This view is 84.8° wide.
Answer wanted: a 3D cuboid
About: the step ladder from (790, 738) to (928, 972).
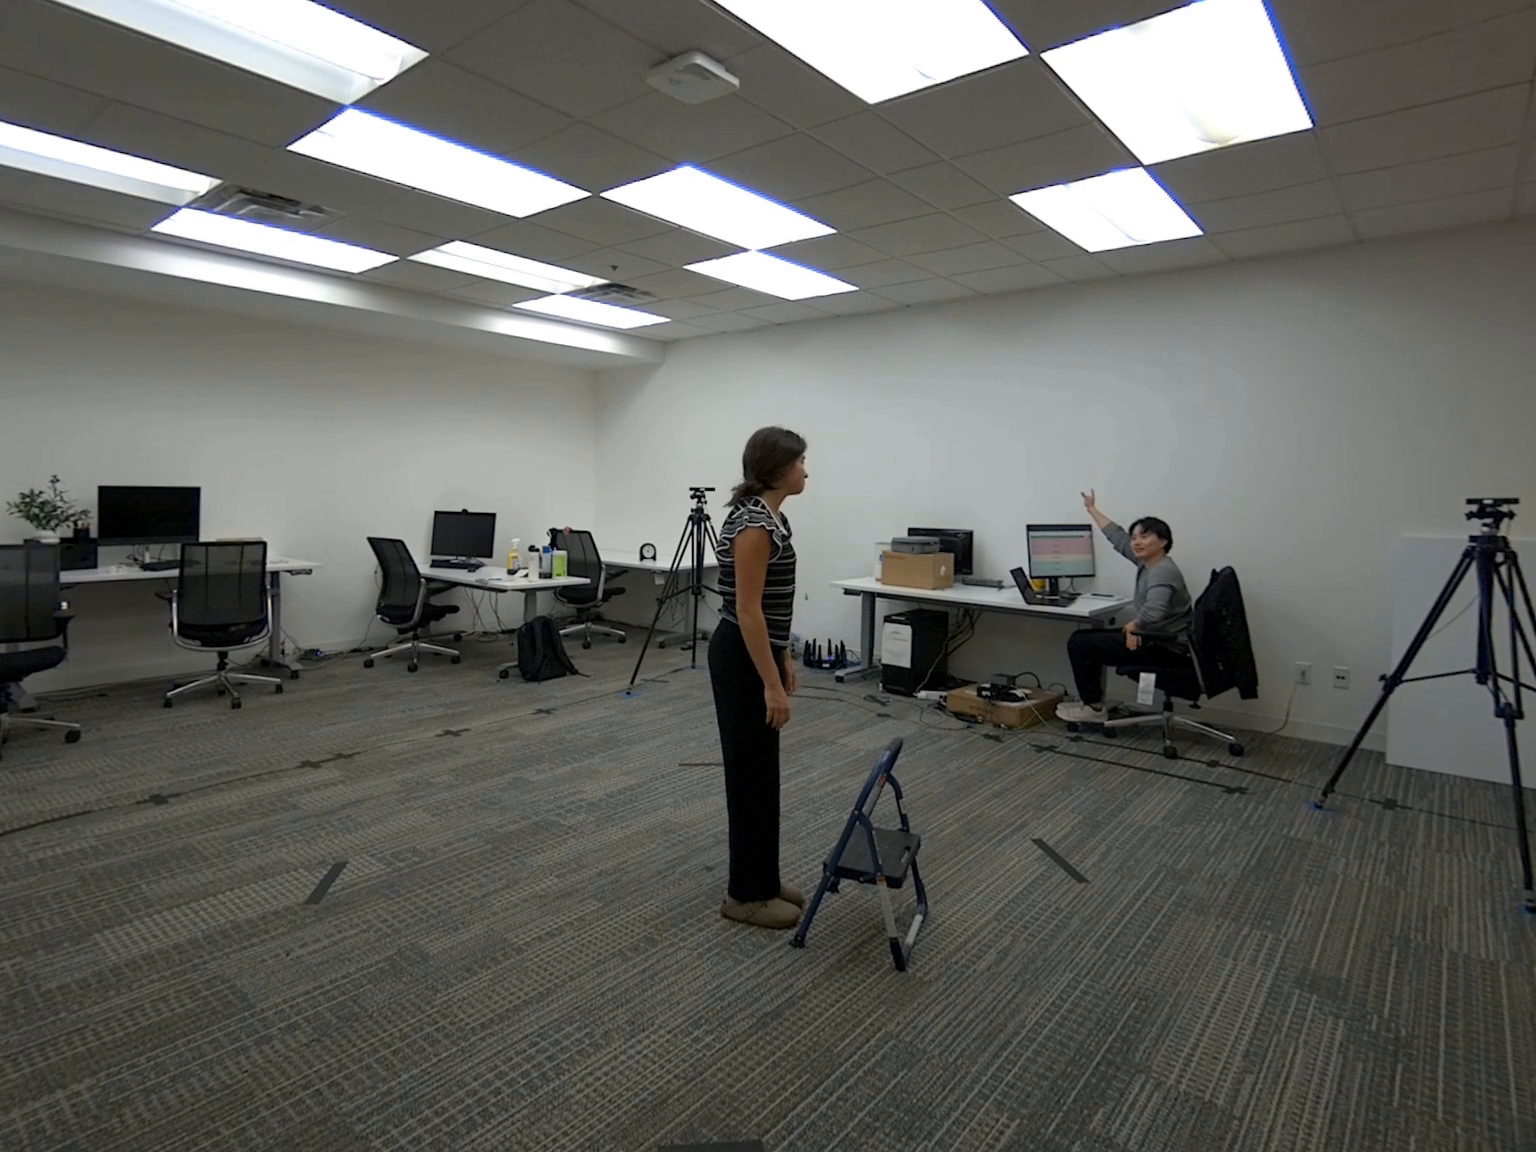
[{"bbox_3d":[0.306,0.818,2.701,0.357,0.604,0.422,3,4,21],"label":"step ladder"}]
